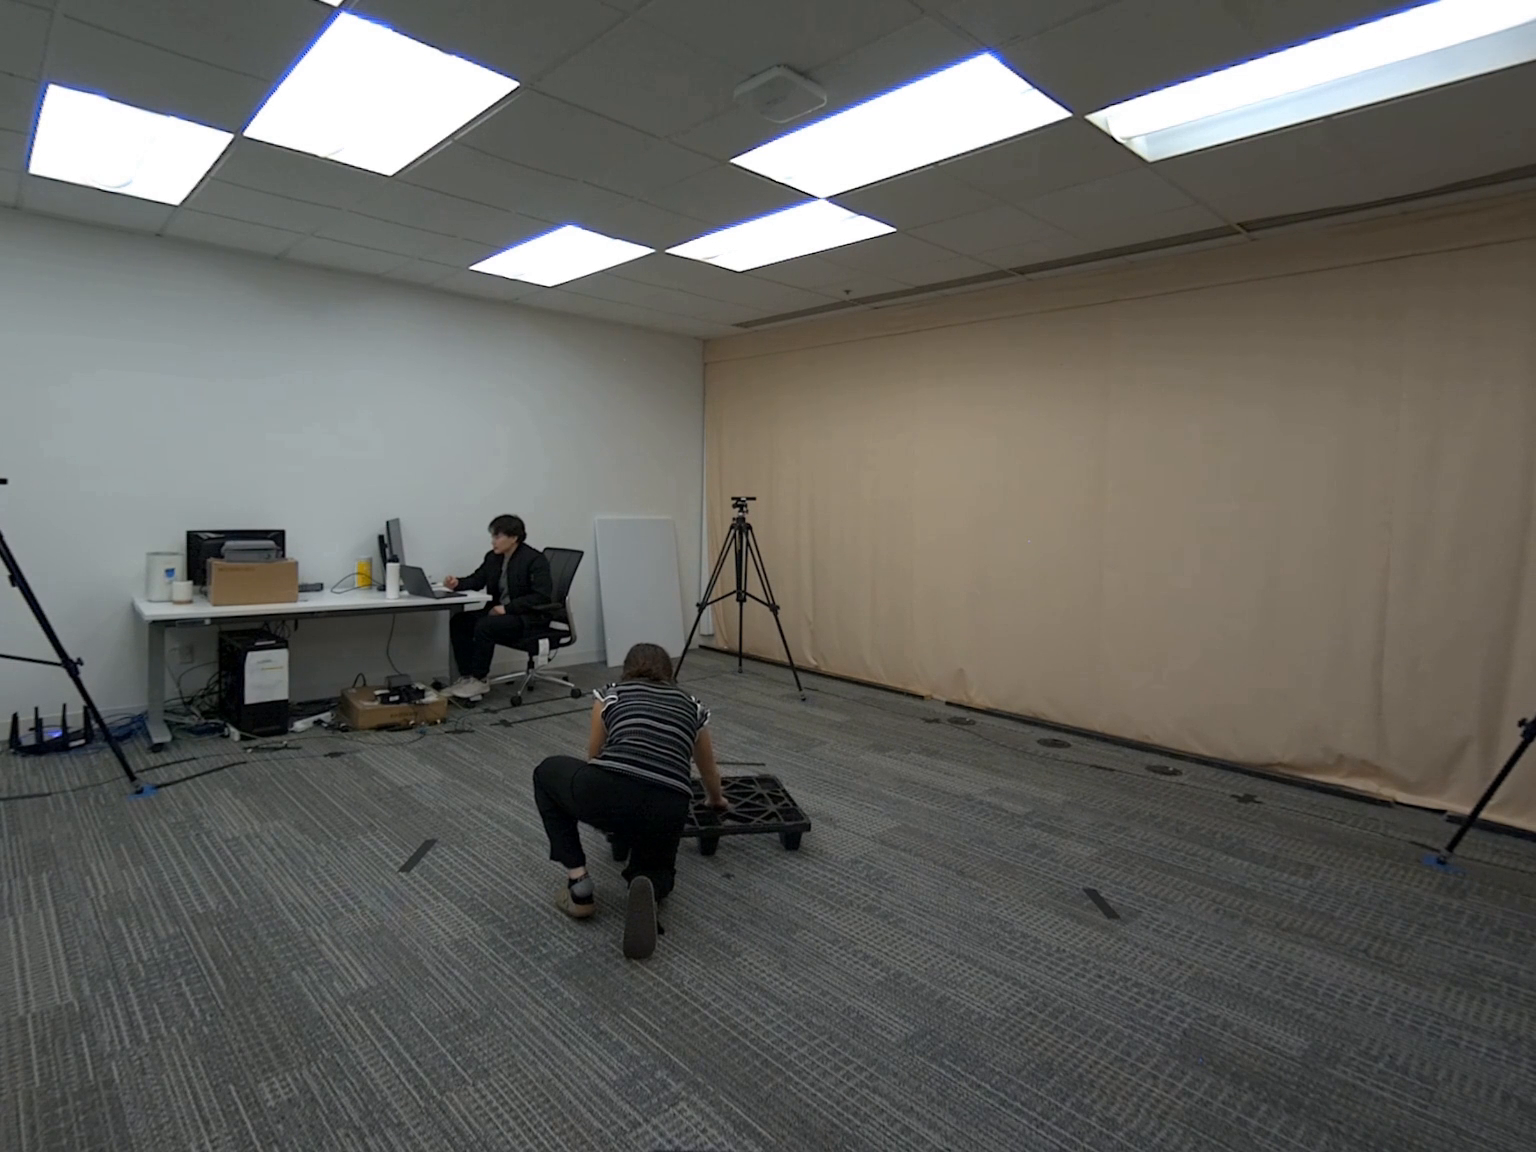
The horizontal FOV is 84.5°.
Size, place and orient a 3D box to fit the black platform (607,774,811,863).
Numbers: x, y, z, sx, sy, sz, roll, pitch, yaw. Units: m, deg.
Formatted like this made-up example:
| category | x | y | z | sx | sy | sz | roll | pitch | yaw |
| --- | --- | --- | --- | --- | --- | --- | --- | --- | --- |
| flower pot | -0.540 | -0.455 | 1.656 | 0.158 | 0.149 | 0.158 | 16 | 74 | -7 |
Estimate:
| category | x | y | z | sx | sy | sz | roll | pitch | yaw |
| --- | --- | --- | --- | --- | --- | --- | --- | --- | --- |
| black platform | -0.286 | 1.002 | 3.501 | 0.798 | 0.143 | 0.613 | 0 | 5 | -12 |
